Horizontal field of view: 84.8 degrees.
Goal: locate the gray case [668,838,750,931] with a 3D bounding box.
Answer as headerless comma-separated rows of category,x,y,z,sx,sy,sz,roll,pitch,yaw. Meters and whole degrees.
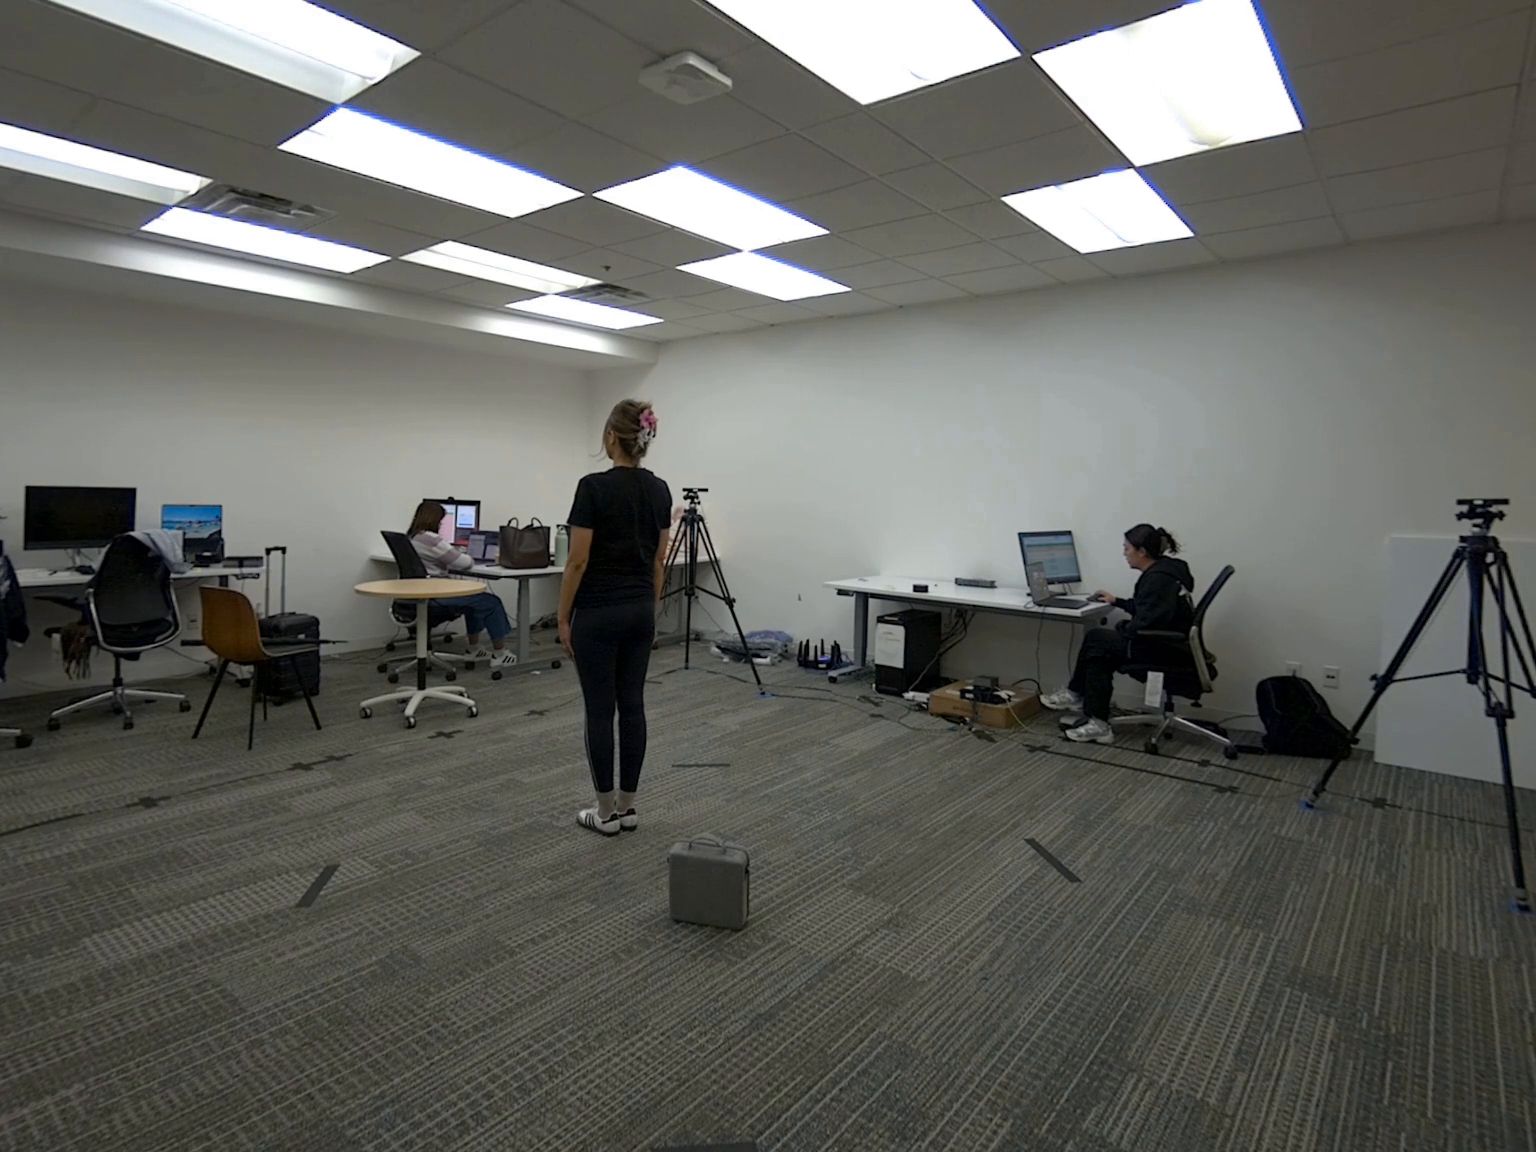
gray case,-0.194,0.974,2.720,0.261,0.258,0.104,1,10,14
